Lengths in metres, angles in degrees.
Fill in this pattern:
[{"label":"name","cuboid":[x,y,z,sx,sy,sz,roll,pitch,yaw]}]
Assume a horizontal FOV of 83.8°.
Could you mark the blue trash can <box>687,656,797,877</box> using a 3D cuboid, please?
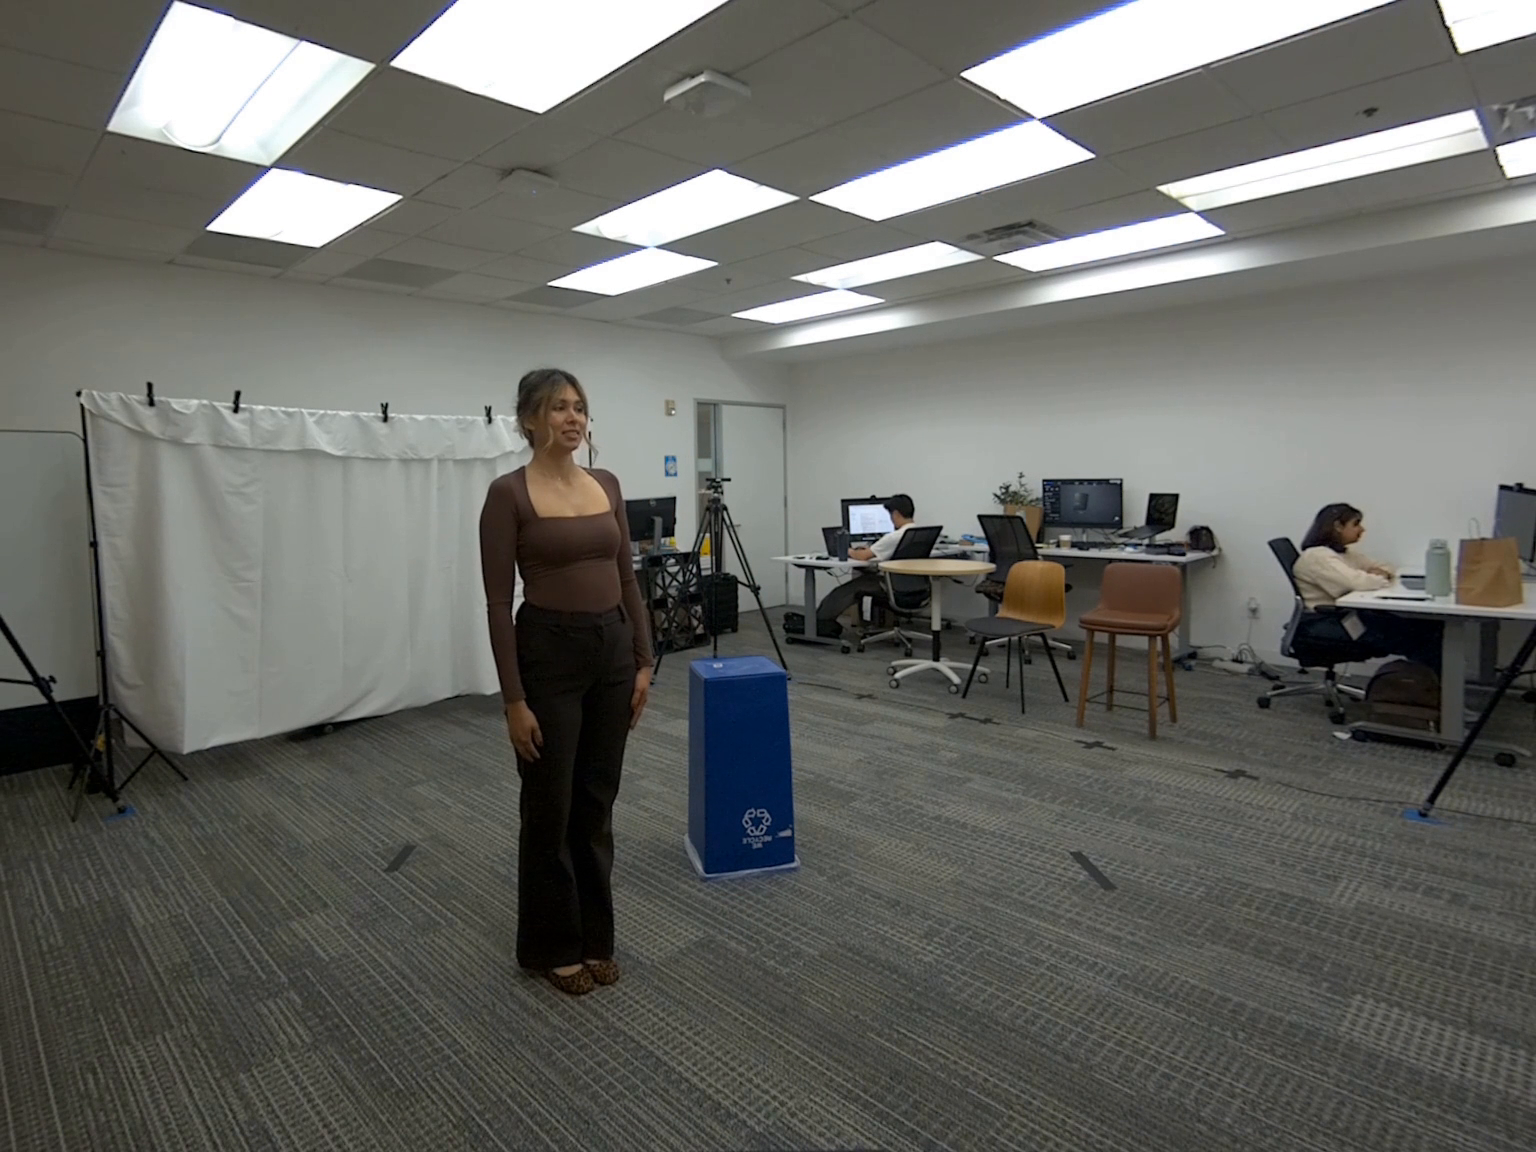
[{"label":"blue trash can","cuboid":[-0.115,0.683,3.157,0.369,0.711,0.384,-3,5,-15]}]
